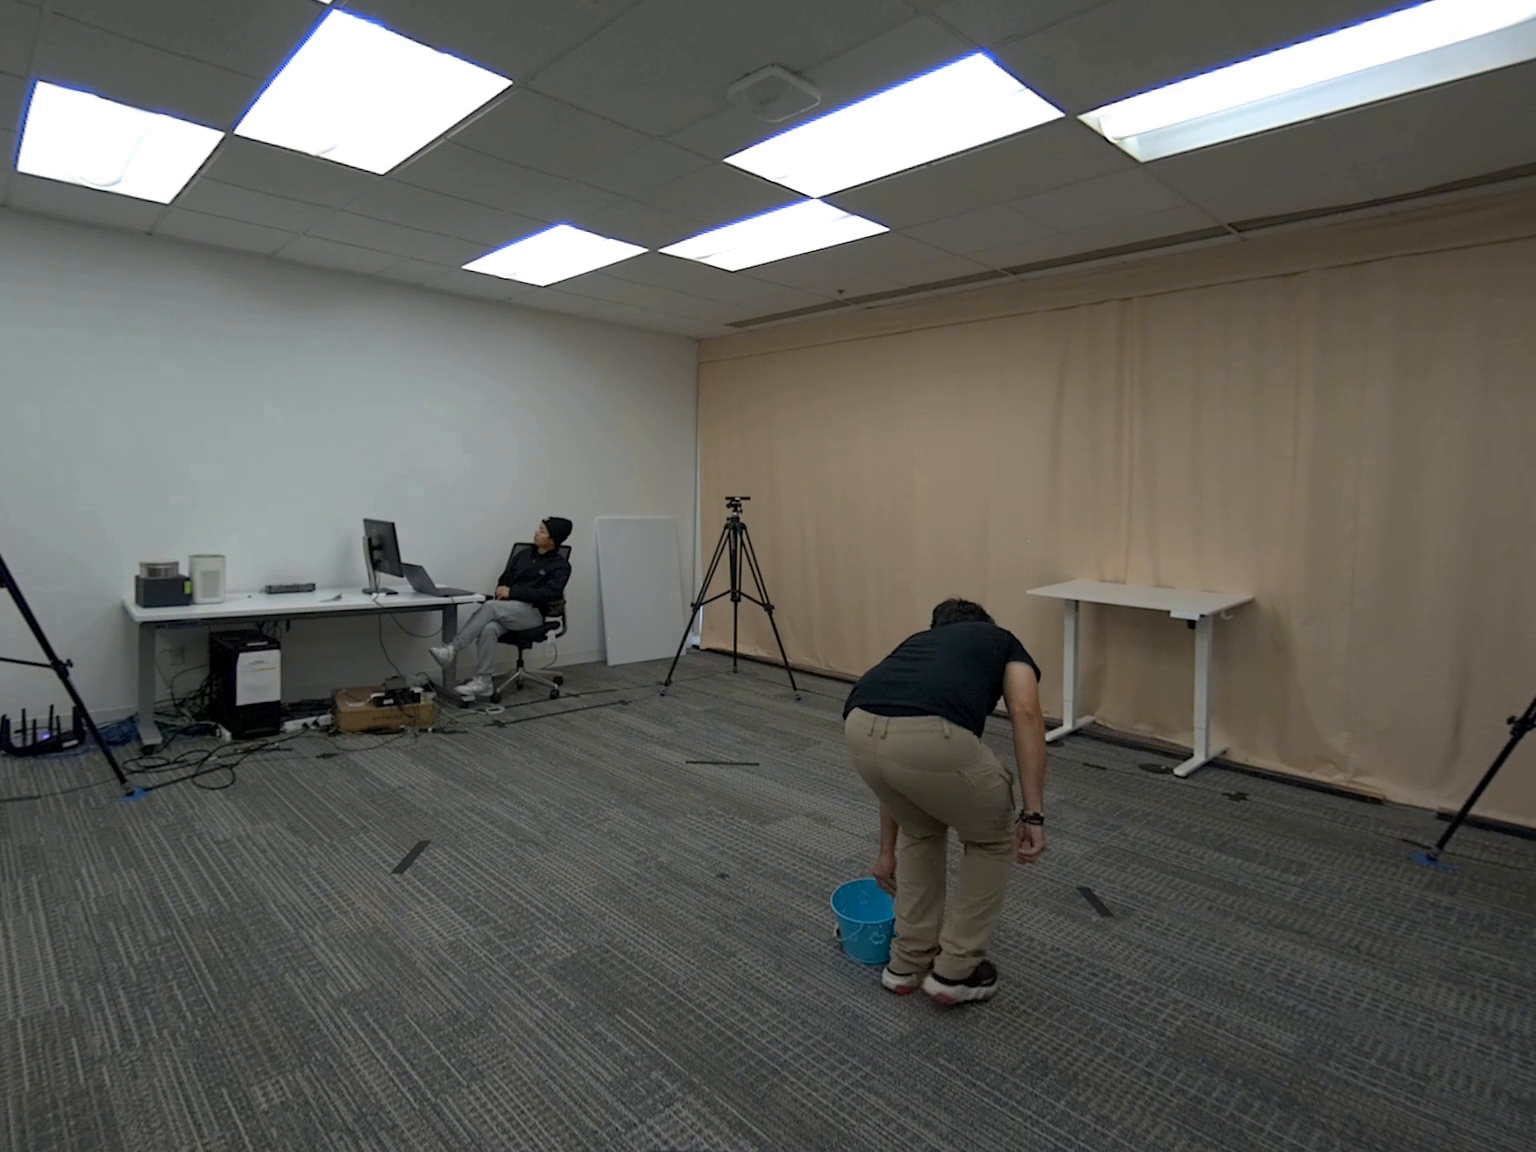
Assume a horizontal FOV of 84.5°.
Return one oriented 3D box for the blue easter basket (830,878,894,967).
[{"bbox_3d":[0.307,1.073,2.611,0.243,0.154,0.246,-4,11,-1],"label":"blue easter basket"}]
